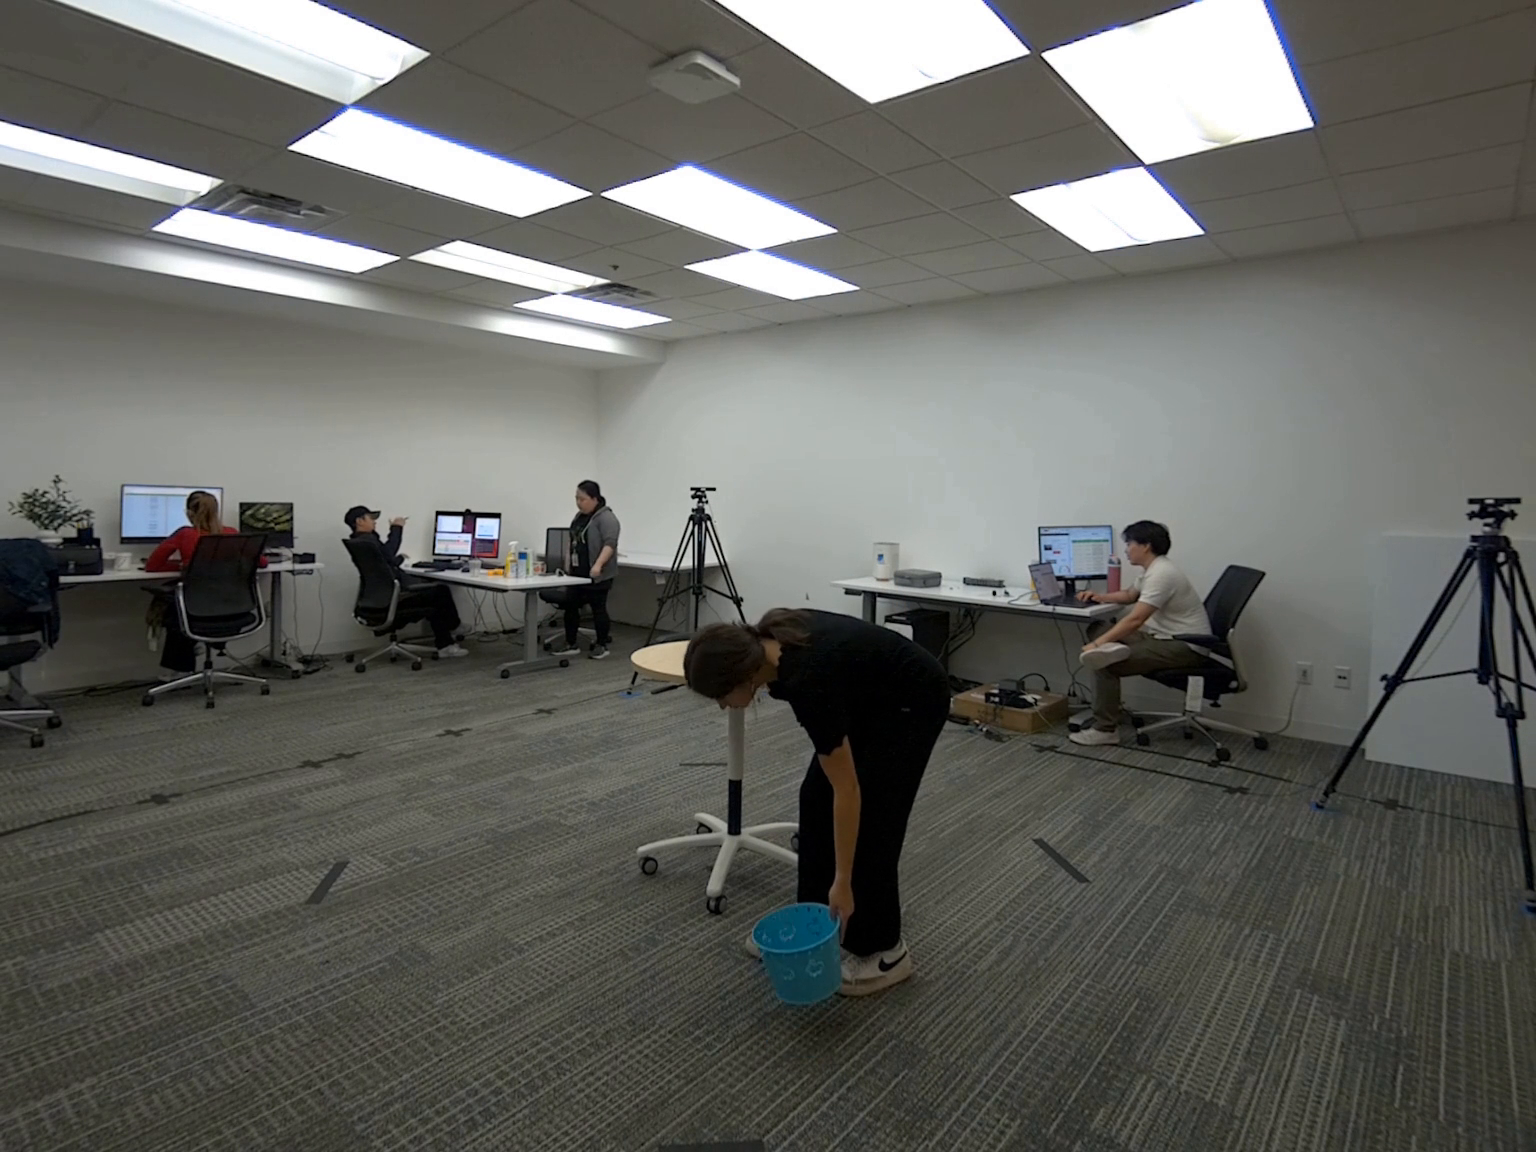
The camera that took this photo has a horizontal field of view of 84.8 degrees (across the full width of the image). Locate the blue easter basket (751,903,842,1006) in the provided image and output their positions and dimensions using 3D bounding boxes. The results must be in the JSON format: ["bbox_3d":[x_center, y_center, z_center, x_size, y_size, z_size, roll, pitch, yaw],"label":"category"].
[{"bbox_3d":[0.085,0.964,2.201,0.243,0.155,0.245,-9,5,-1],"label":"blue easter basket"}]
